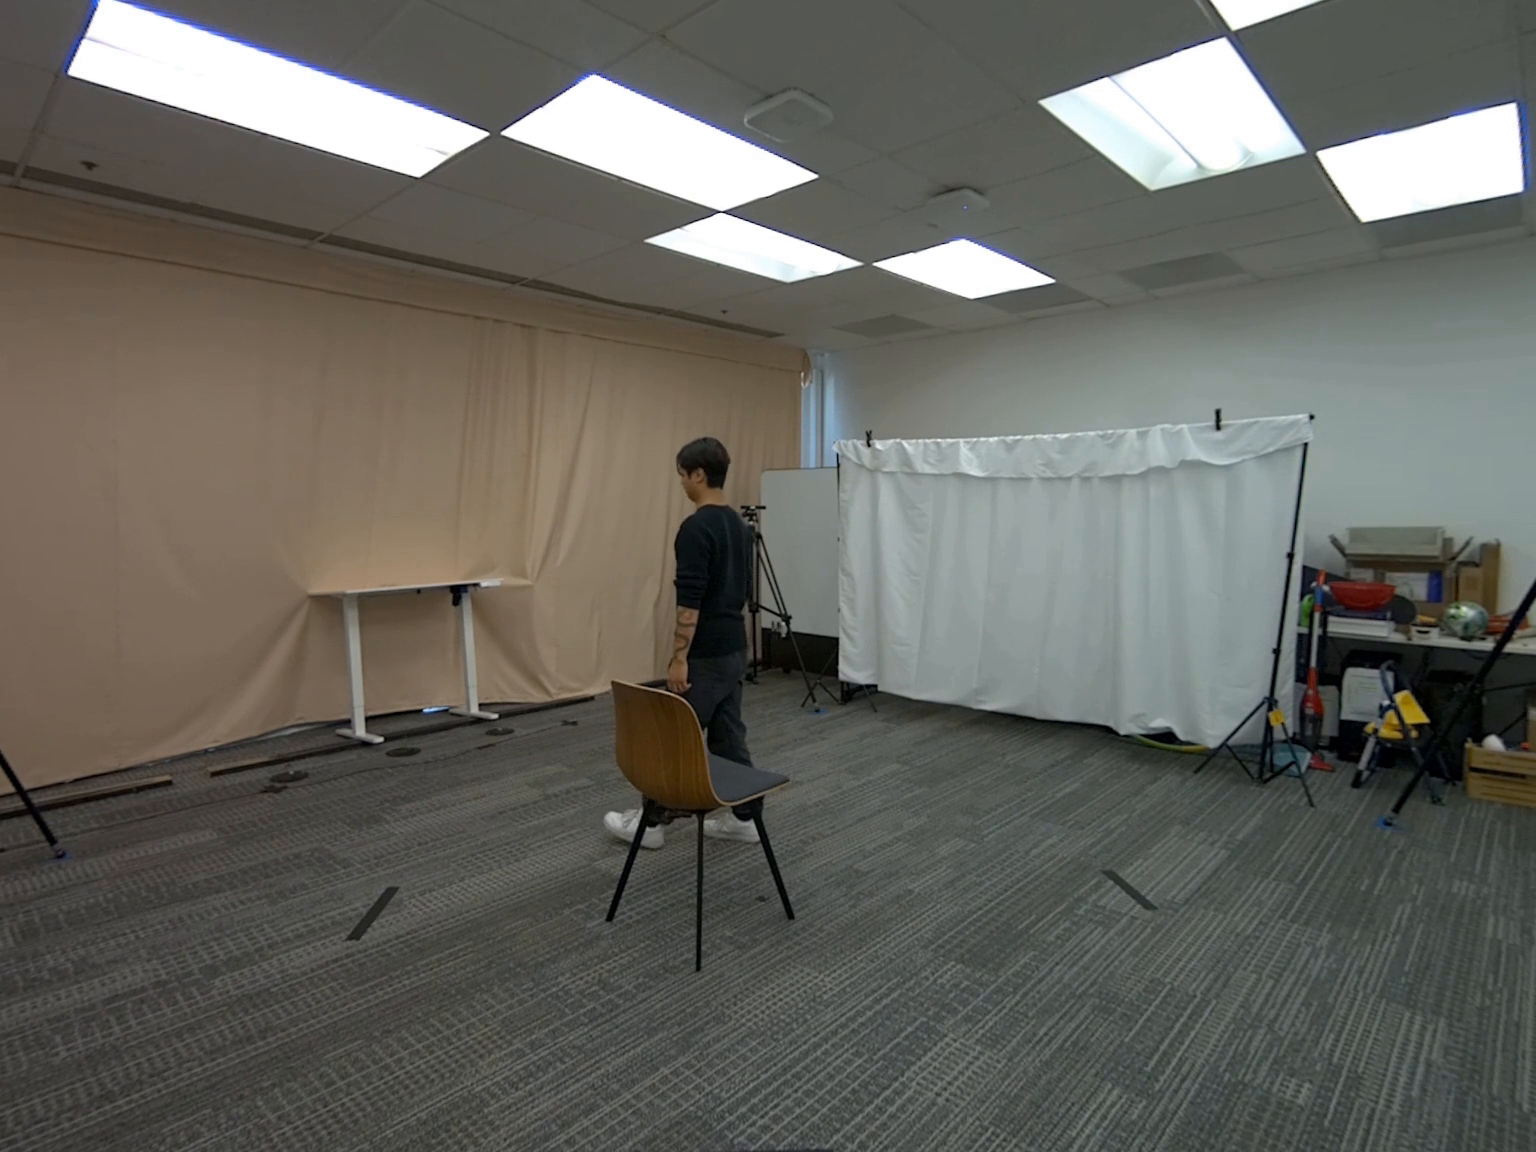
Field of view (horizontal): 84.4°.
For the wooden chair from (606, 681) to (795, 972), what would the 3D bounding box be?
[{"bbox_3d":[-0.219,0.730,2.815,0.494,0.874,0.508,2,8,43],"label":"wooden chair"}]
